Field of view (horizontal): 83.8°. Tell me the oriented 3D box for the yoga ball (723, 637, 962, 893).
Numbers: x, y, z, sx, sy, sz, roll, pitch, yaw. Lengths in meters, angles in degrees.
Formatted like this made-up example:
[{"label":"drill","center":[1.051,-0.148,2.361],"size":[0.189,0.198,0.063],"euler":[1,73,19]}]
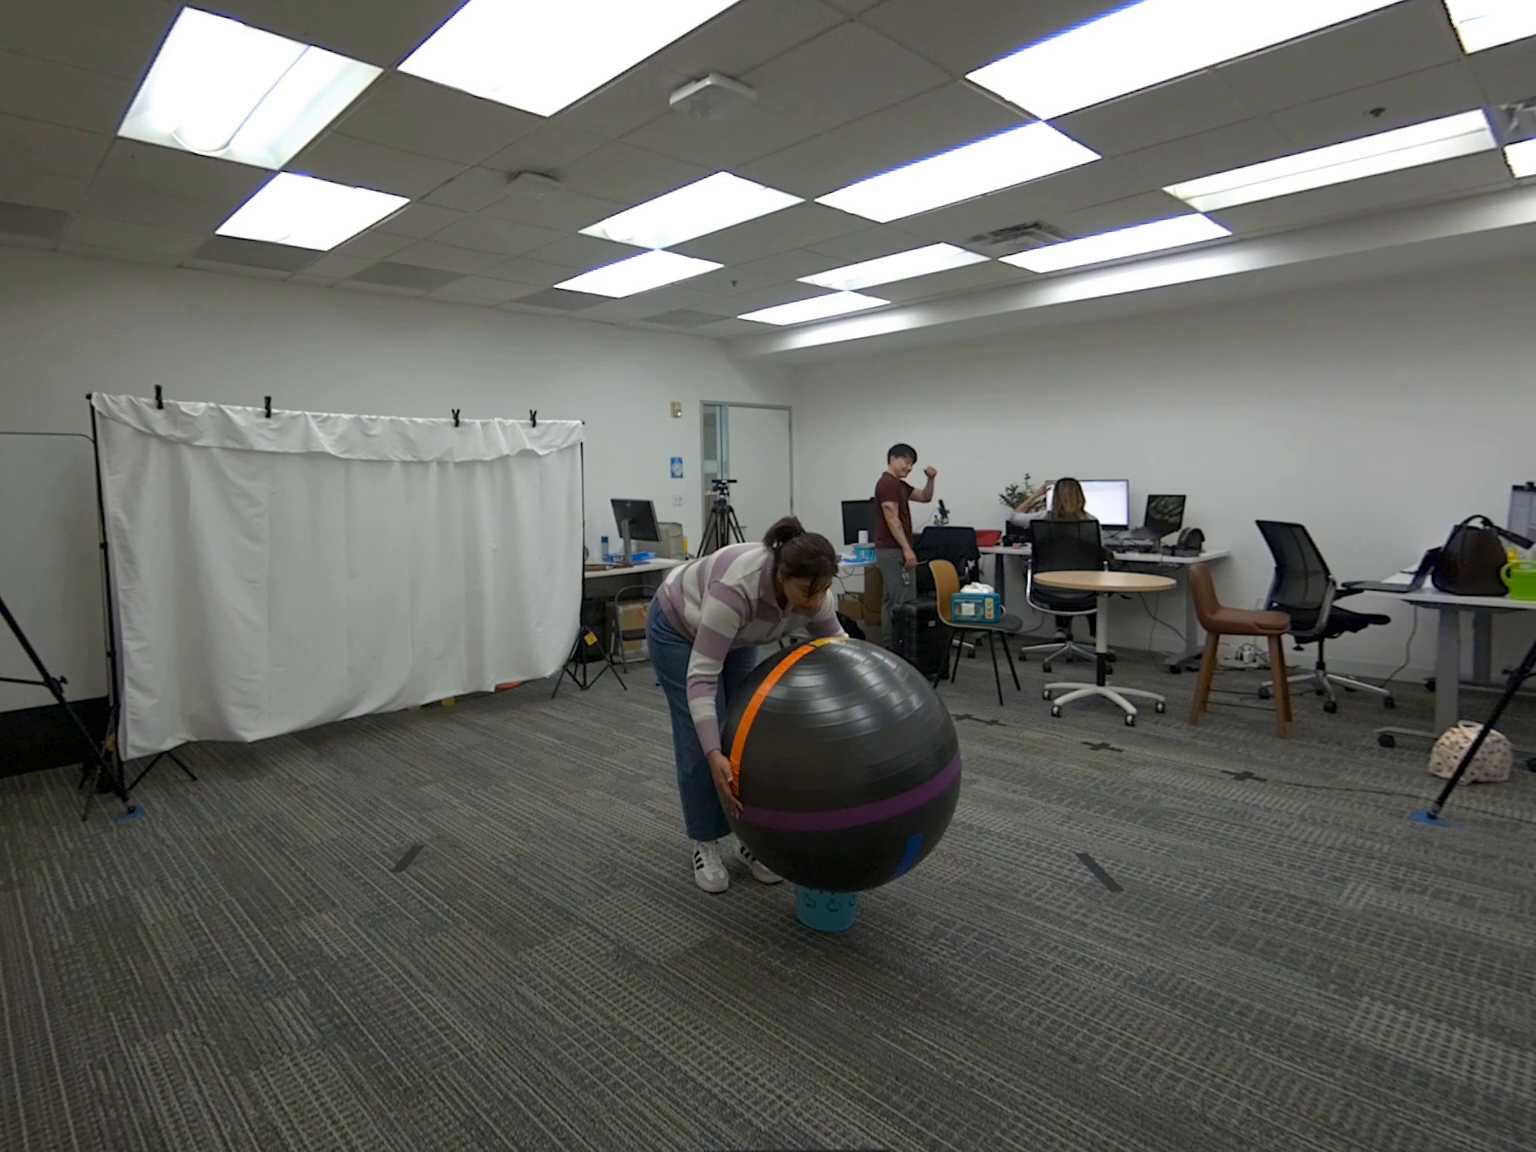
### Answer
[{"label":"yoga ball","center":[0.215,0.573,2.650],"size":[0.757,0.755,0.762],"euler":[-1,5,-2]}]
